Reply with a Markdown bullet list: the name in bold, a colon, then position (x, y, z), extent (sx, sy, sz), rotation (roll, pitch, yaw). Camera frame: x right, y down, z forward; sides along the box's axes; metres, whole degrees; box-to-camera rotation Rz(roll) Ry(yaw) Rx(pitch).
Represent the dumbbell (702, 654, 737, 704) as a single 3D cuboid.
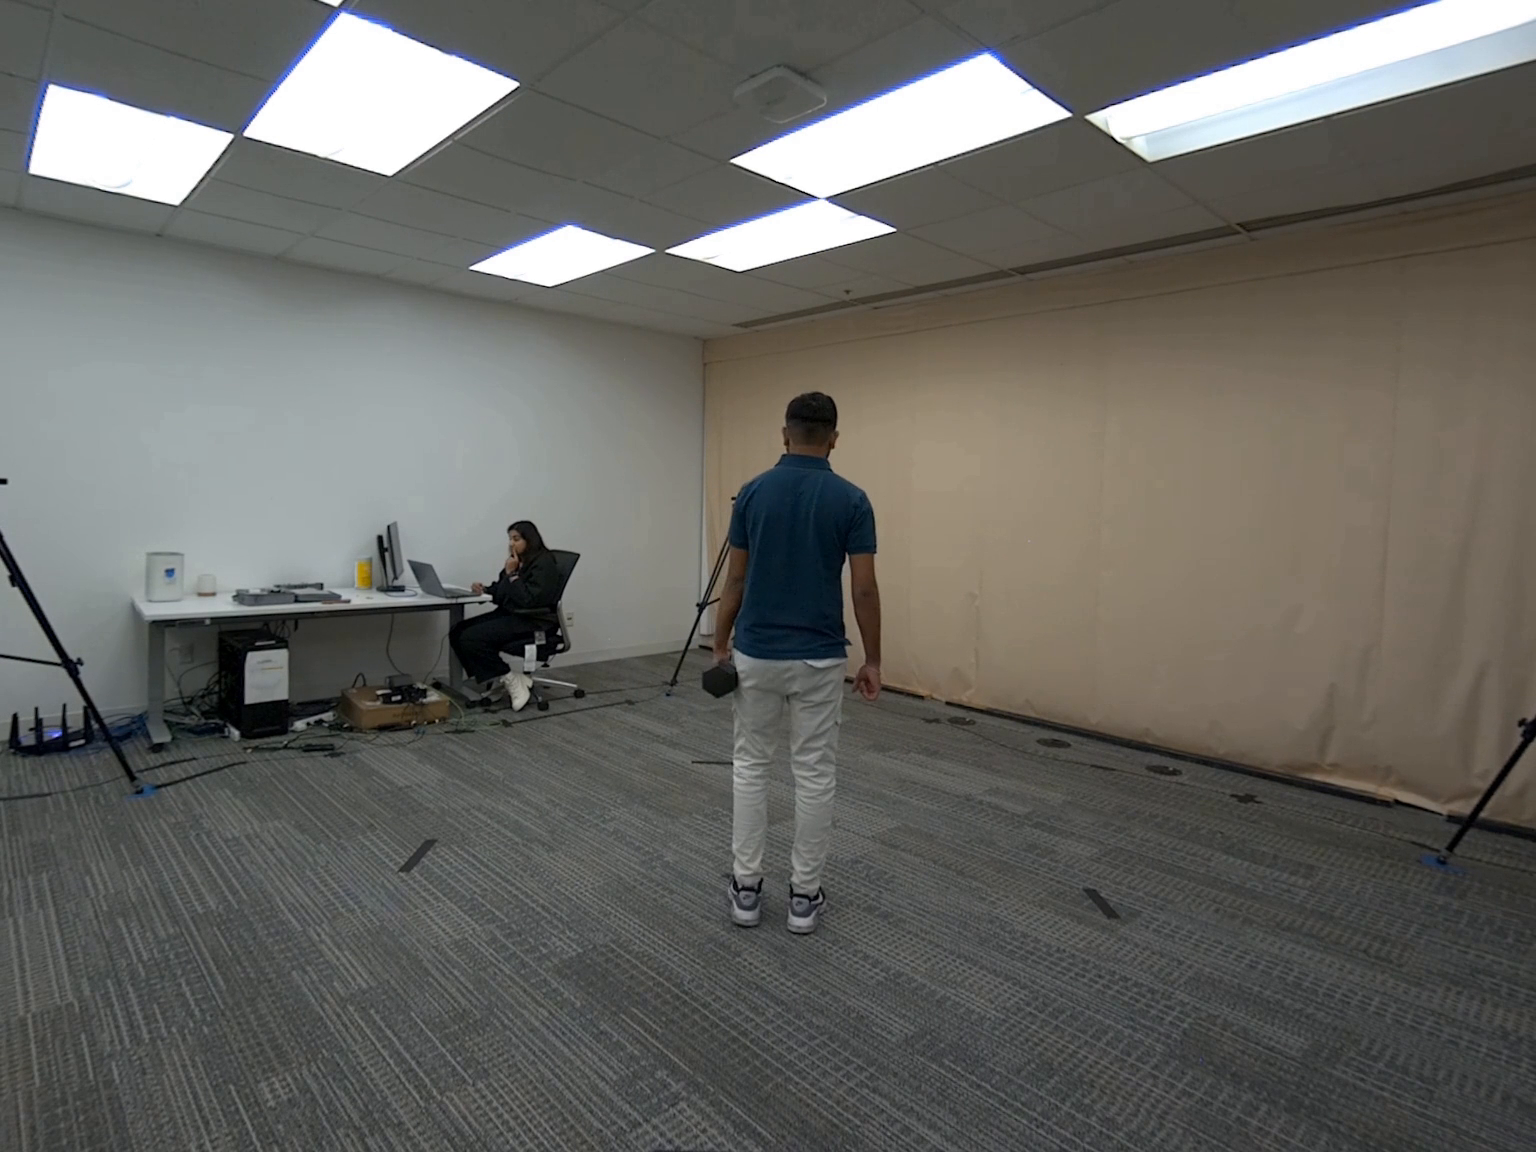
- **dumbbell**: position (-0.139, 0.333, 2.873), extent (0.109, 0.123, 0.292), rotation (5, 4, 7)
